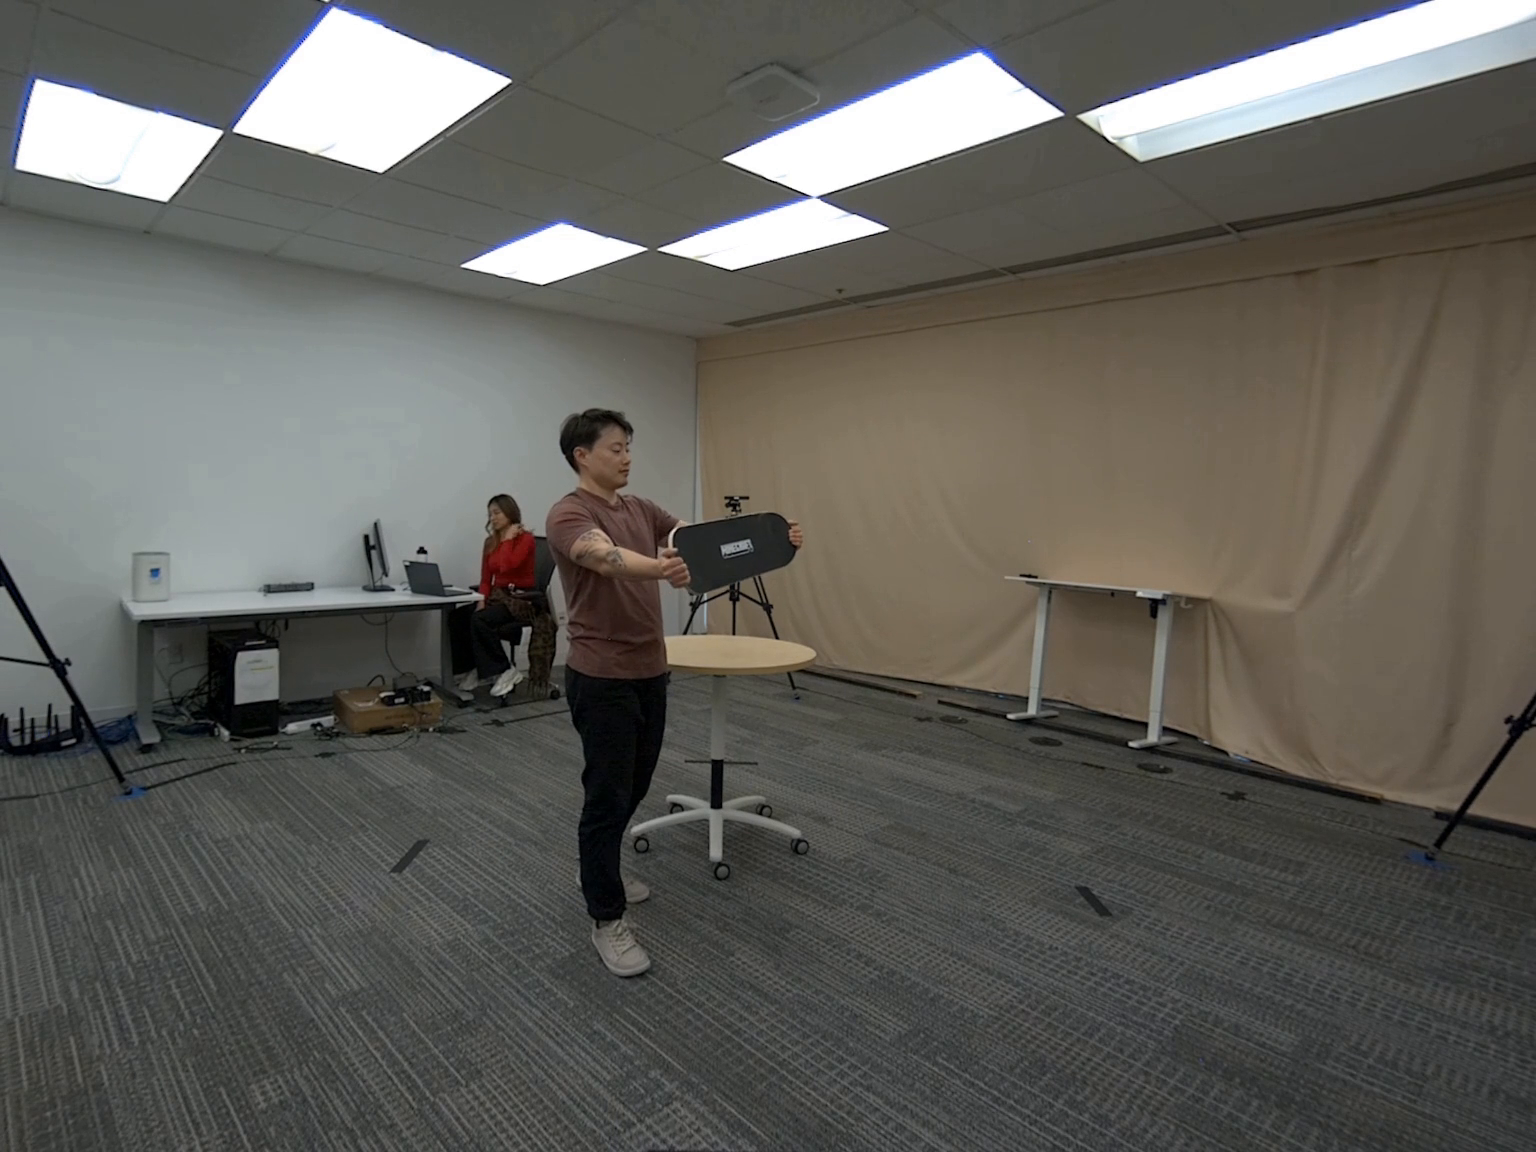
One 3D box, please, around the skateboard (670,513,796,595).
[{"bbox_3d":[-0.131,-0.073,2.520,0.112,0.193,0.775,-18,0,25],"label":"skateboard"}]
